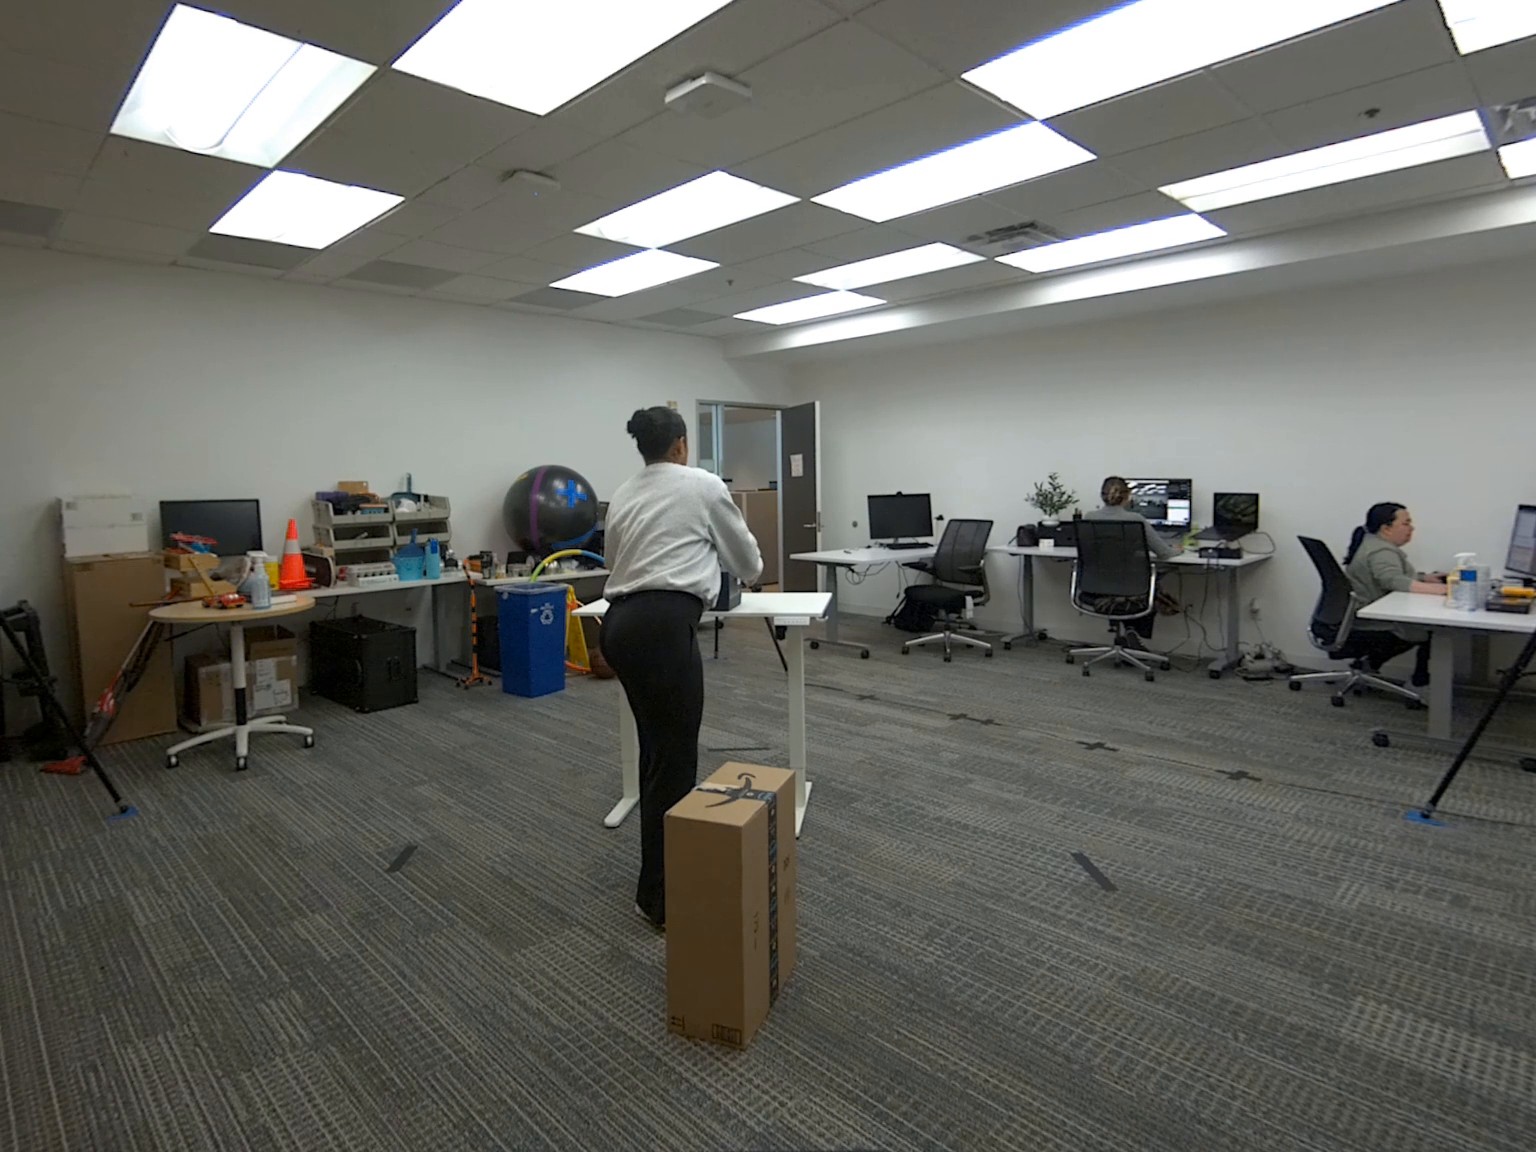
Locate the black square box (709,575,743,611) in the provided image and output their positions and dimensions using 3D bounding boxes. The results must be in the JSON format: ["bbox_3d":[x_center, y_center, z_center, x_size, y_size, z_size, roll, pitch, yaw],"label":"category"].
[{"bbox_3d":[-0.239,0.047,3.440,0.231,0.155,0.215,-1,4,12],"label":"black square box"}]
